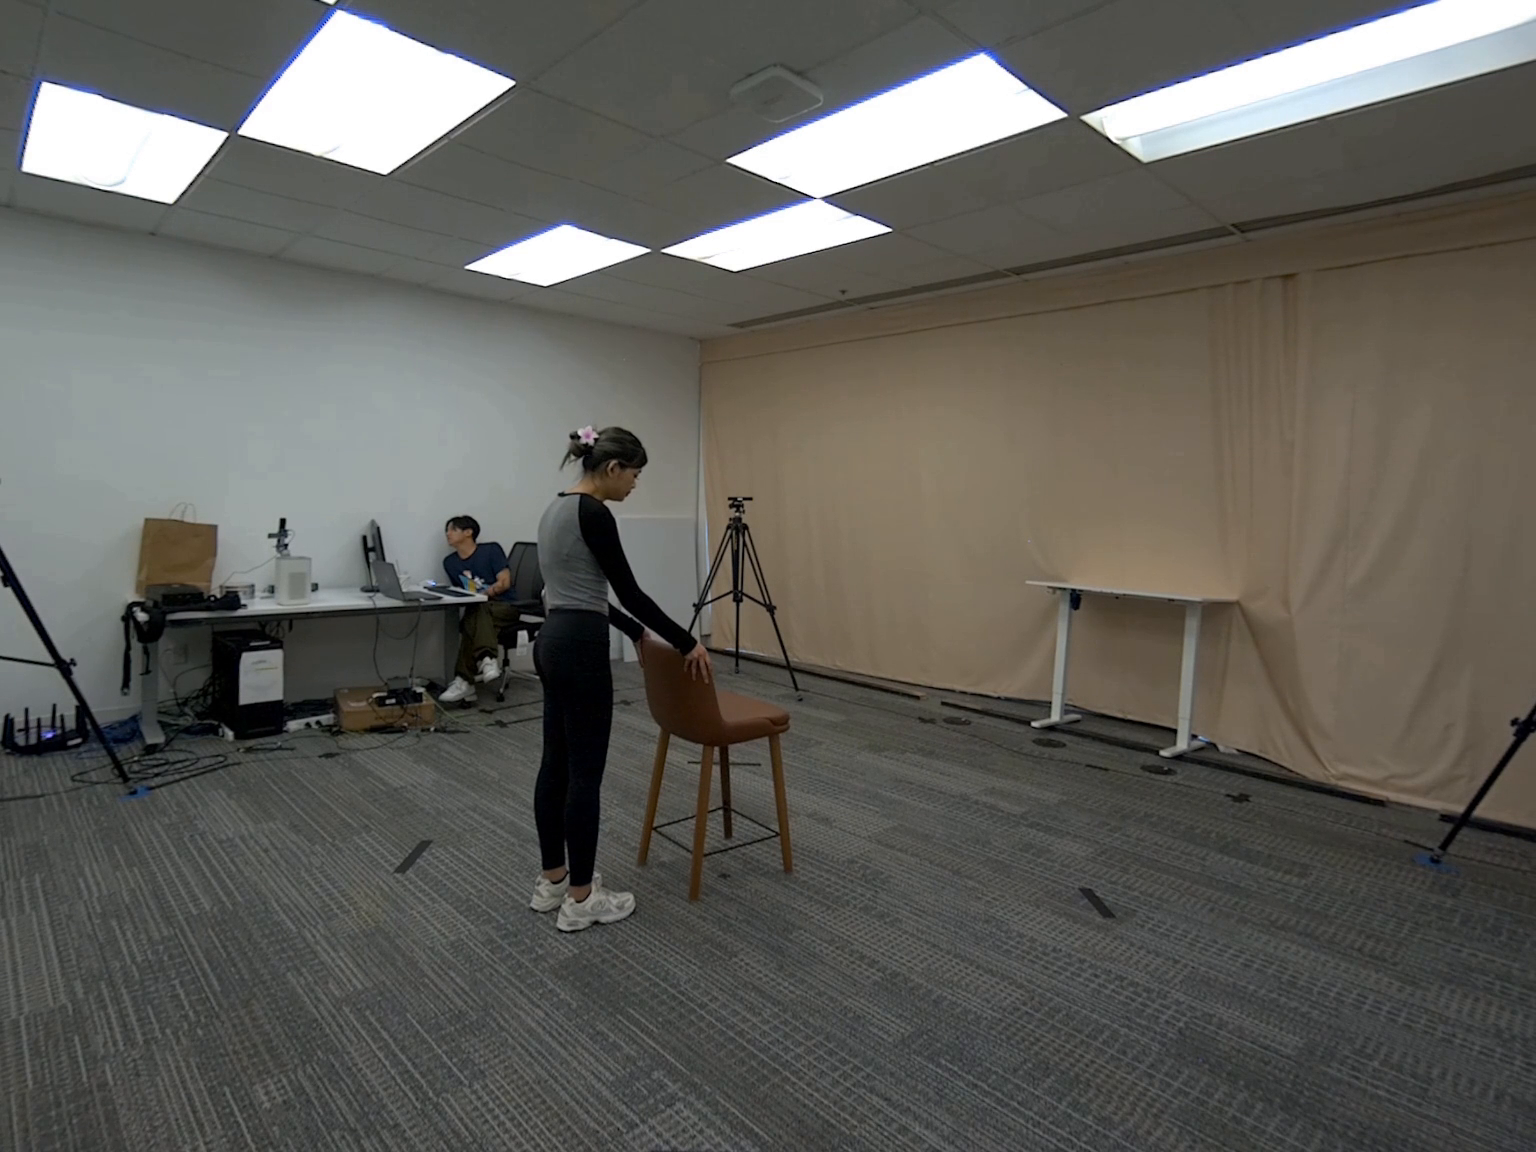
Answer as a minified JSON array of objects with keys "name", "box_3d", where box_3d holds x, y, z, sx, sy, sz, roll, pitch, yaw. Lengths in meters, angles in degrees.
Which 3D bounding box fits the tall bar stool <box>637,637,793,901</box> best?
[{"name":"tall bar stool","box_3d":[-0.210,0.664,3.147,0.457,0.886,0.468,-4,6,-38]}]
